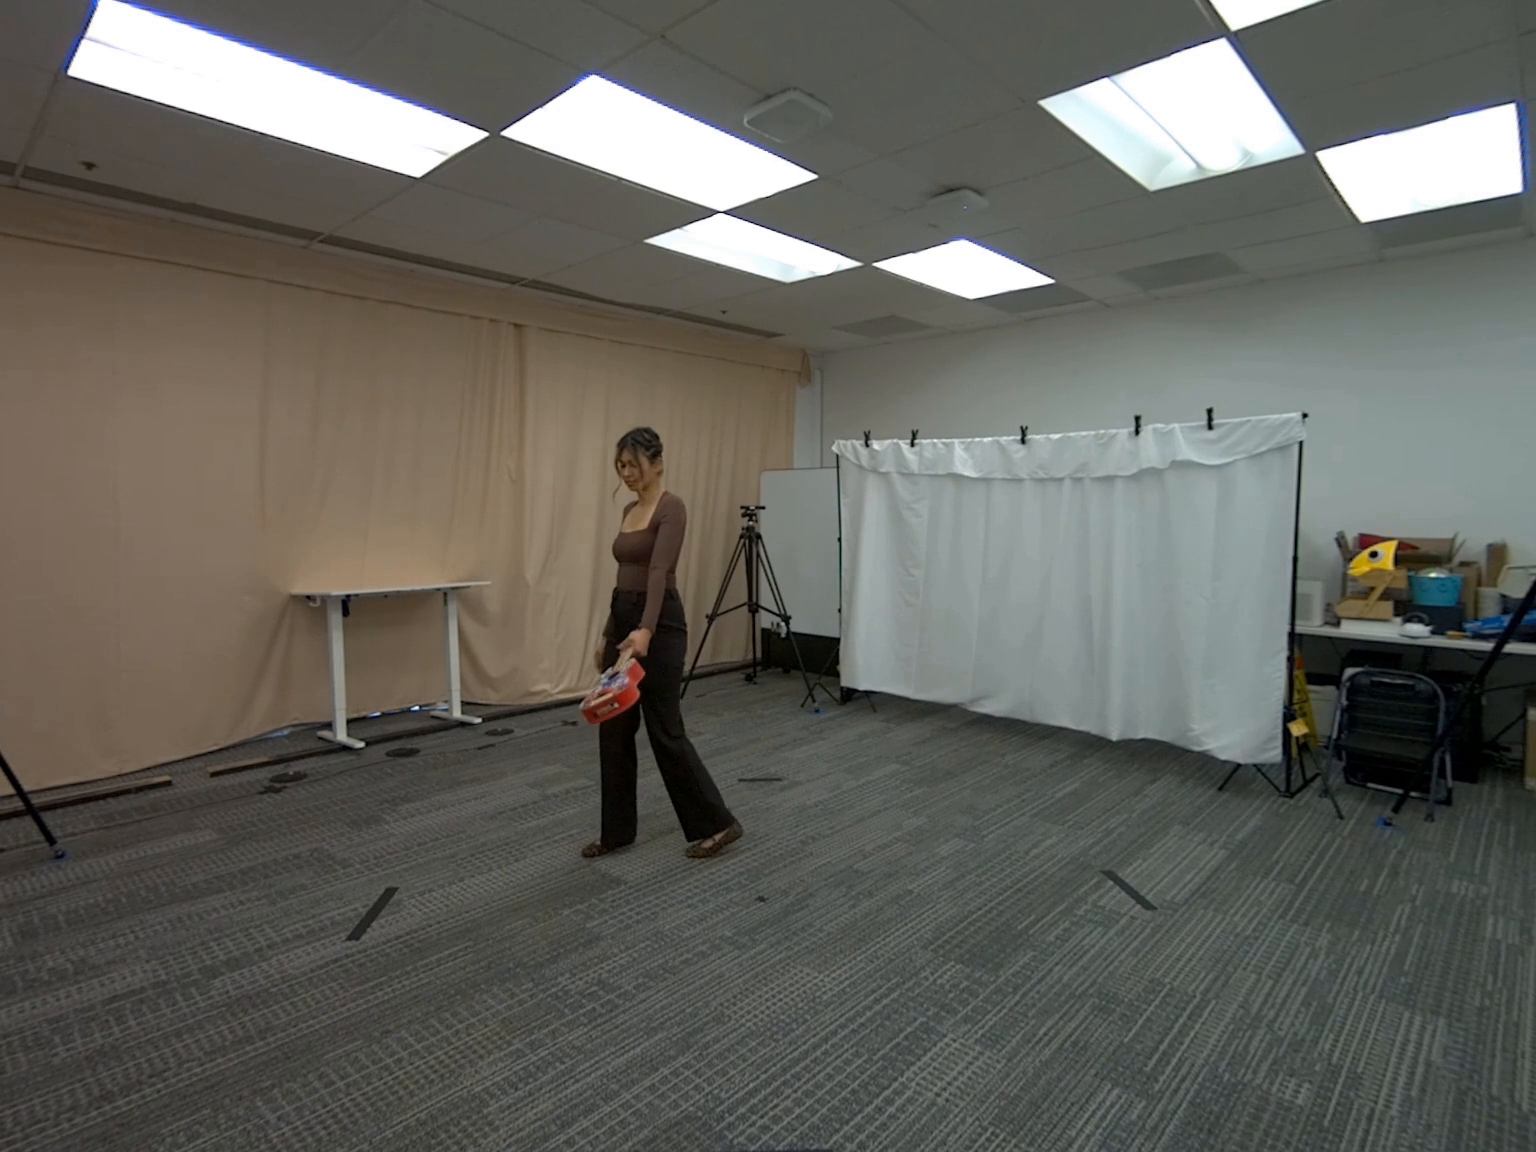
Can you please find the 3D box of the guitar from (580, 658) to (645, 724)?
[{"bbox_3d":[-0.452,0.310,2.830,0.196,0.069,0.497,-23,19,25],"label":"guitar"}]
